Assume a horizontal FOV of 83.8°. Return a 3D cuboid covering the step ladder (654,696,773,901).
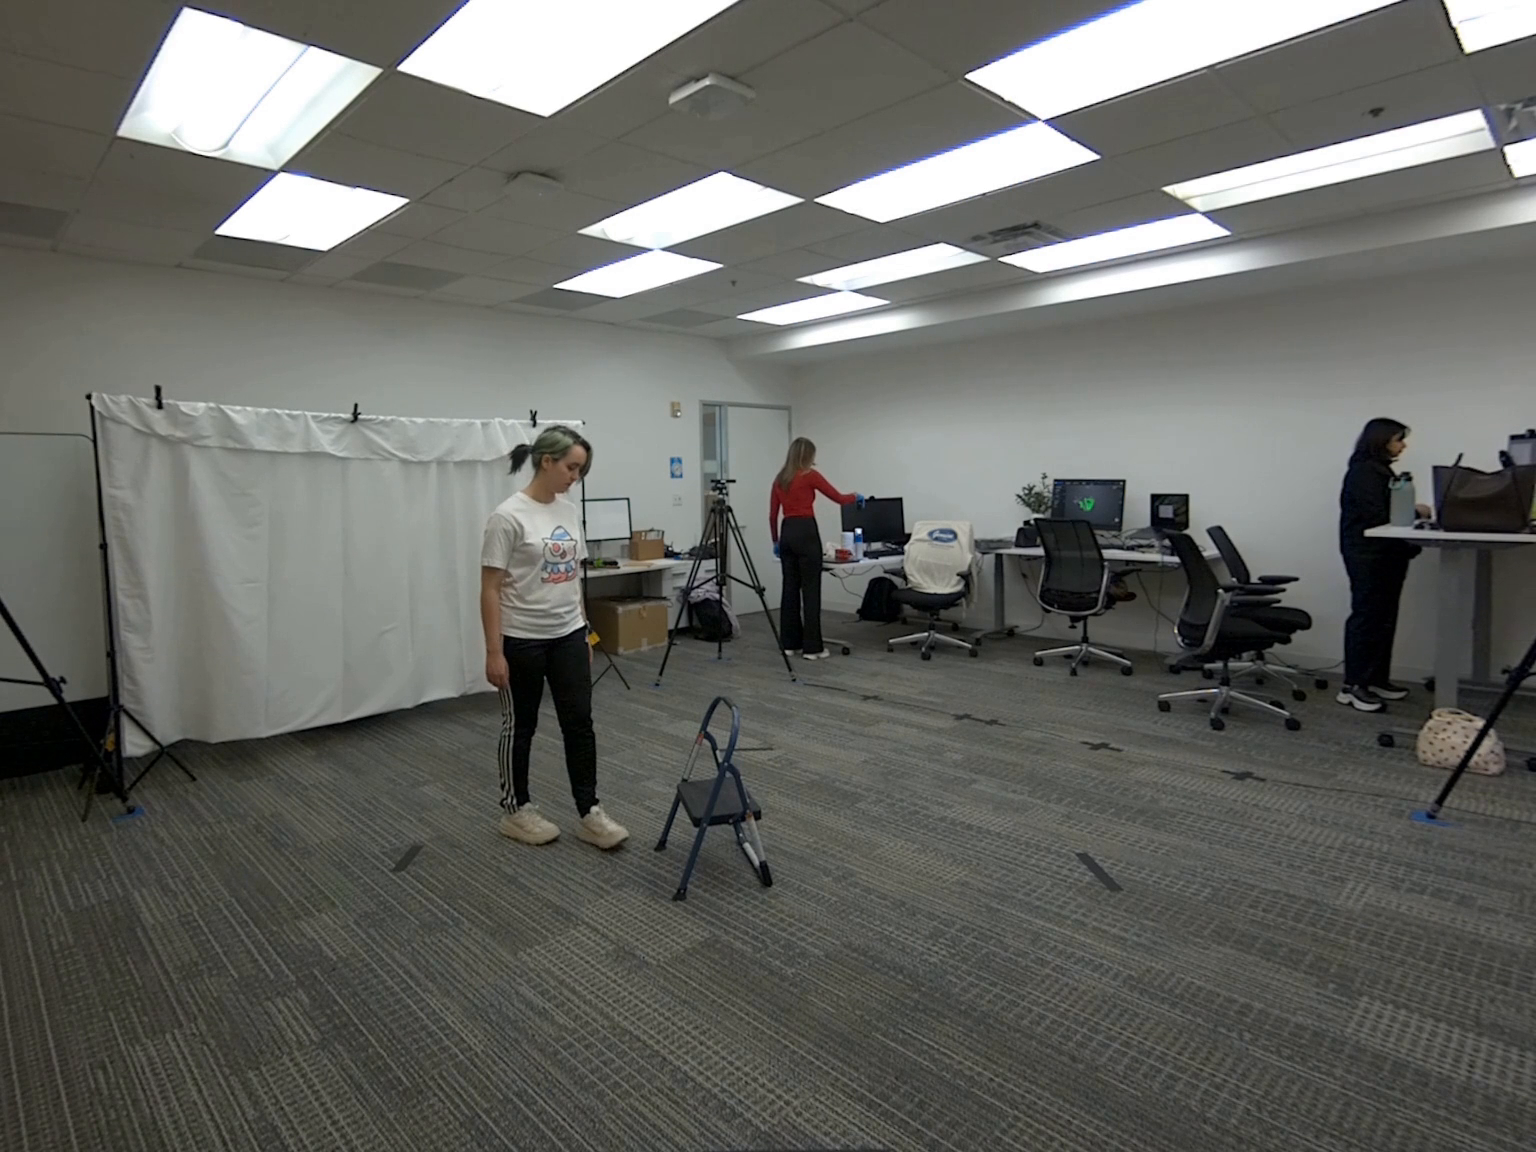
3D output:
[{"bbox_3d":[-0.205,0.752,3.068,0.344,0.604,0.438,-2,5,-15],"label":"step ladder"}]
